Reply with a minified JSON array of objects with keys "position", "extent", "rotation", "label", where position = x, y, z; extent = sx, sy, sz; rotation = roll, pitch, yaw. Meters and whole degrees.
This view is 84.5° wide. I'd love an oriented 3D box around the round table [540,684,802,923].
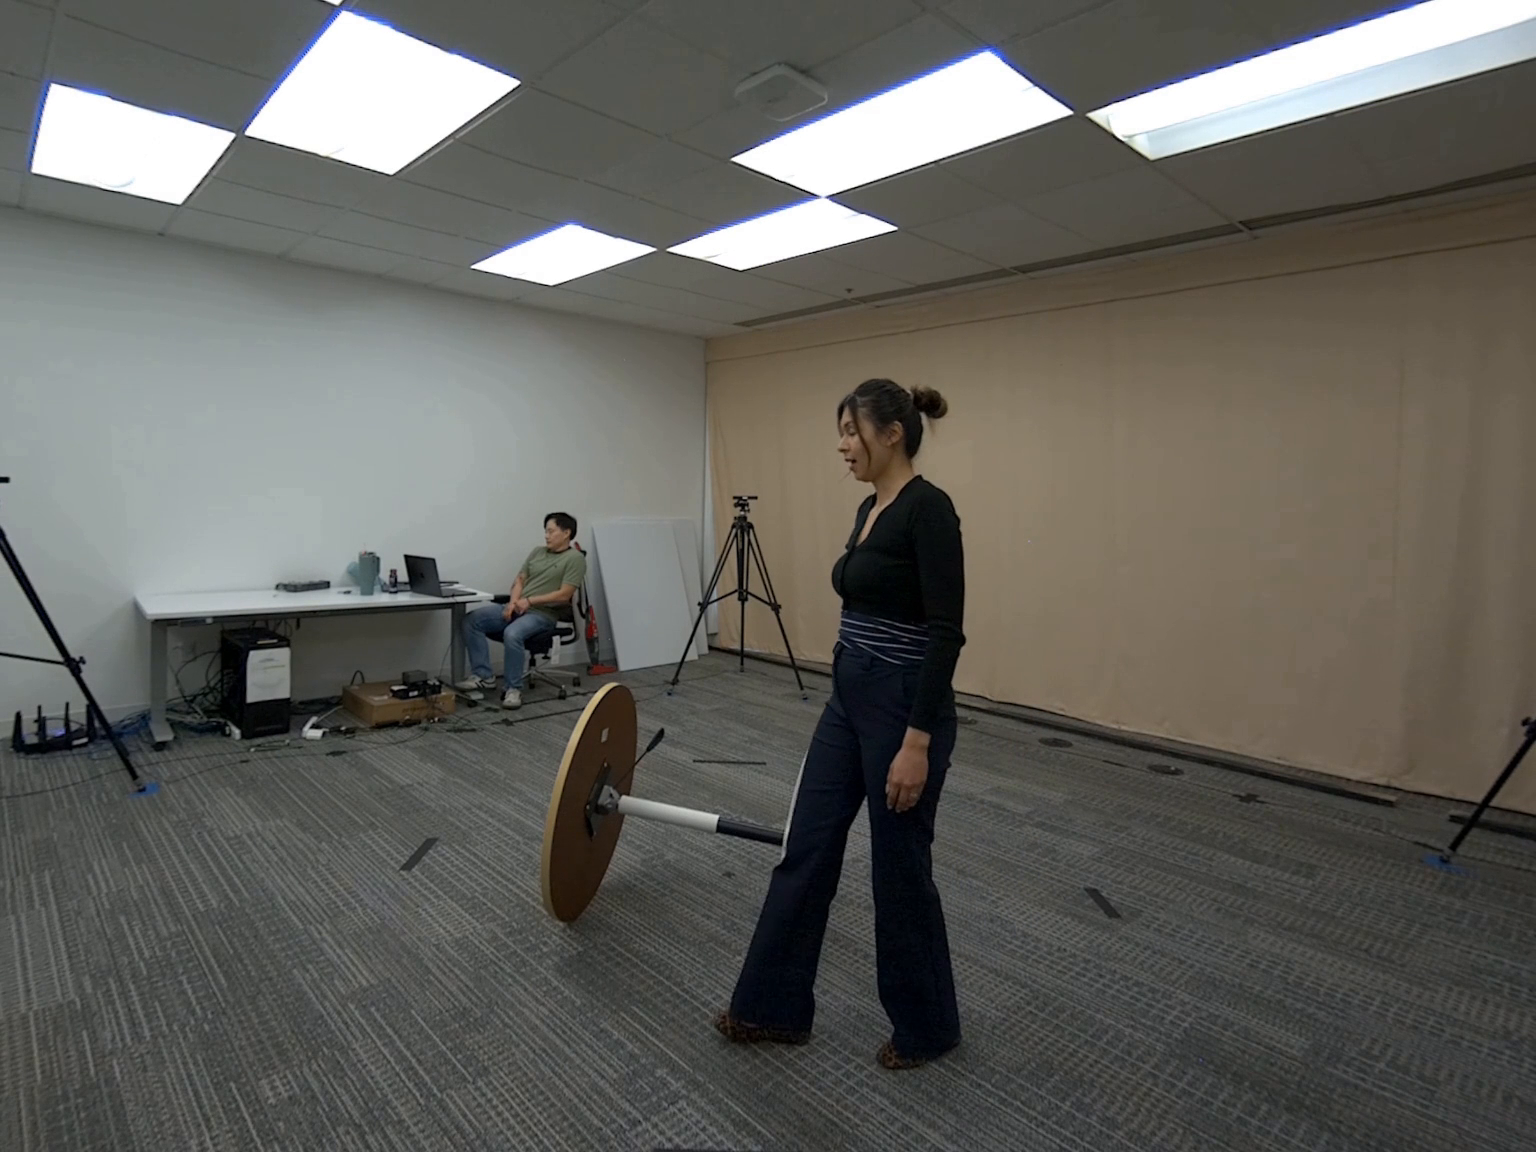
[{"position":[-0.204,0.799,2.720],"extent":[0.801,0.761,0.759],"rotation":[9,5,9],"label":"round table"}]
